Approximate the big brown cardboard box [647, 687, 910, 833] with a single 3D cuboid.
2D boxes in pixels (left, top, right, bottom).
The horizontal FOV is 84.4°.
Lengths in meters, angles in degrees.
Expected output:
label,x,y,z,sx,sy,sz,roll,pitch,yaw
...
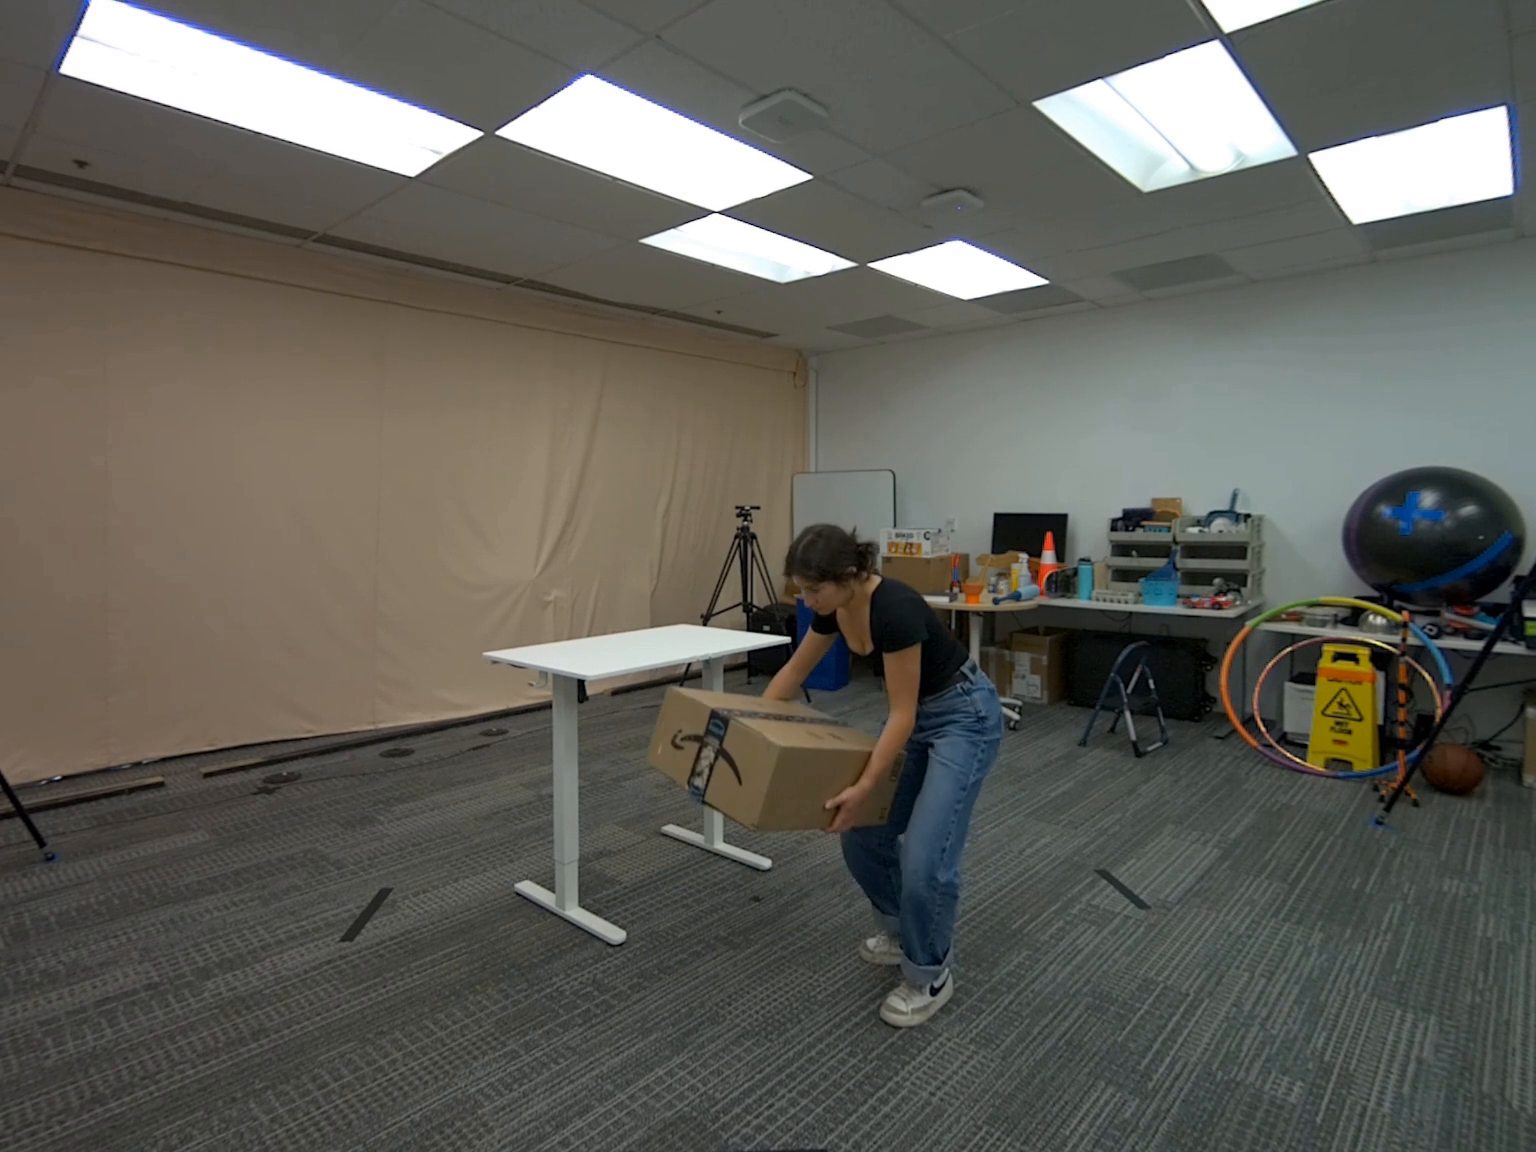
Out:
label,x,y,z,sx,sy,sz,roll,pitch,yaw
big brown cardboard box,0.031,0.500,2.294,0.433,0.233,0.568,17,2,44
